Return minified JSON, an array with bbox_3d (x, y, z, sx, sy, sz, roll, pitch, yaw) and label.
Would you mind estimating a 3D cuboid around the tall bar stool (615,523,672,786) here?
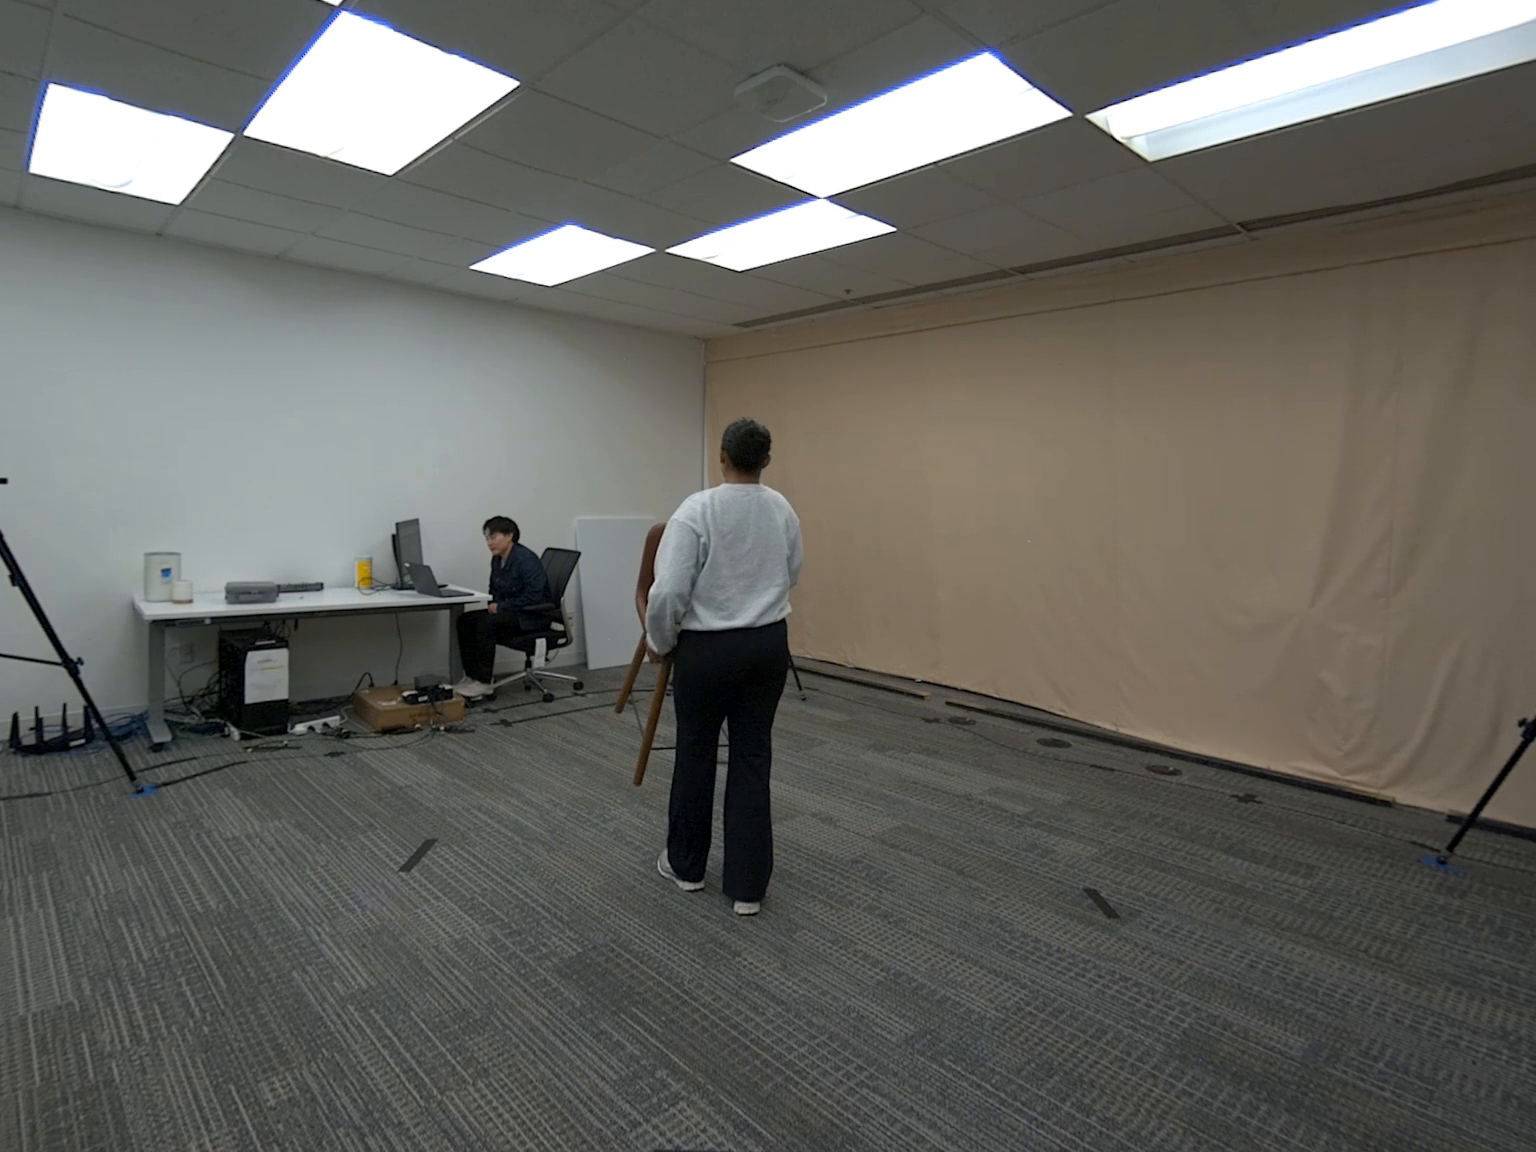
[{"bbox_3d":[-0.298,0.300,3.213,0.448,0.879,0.481,3,25,-24],"label":"tall bar stool"}]
